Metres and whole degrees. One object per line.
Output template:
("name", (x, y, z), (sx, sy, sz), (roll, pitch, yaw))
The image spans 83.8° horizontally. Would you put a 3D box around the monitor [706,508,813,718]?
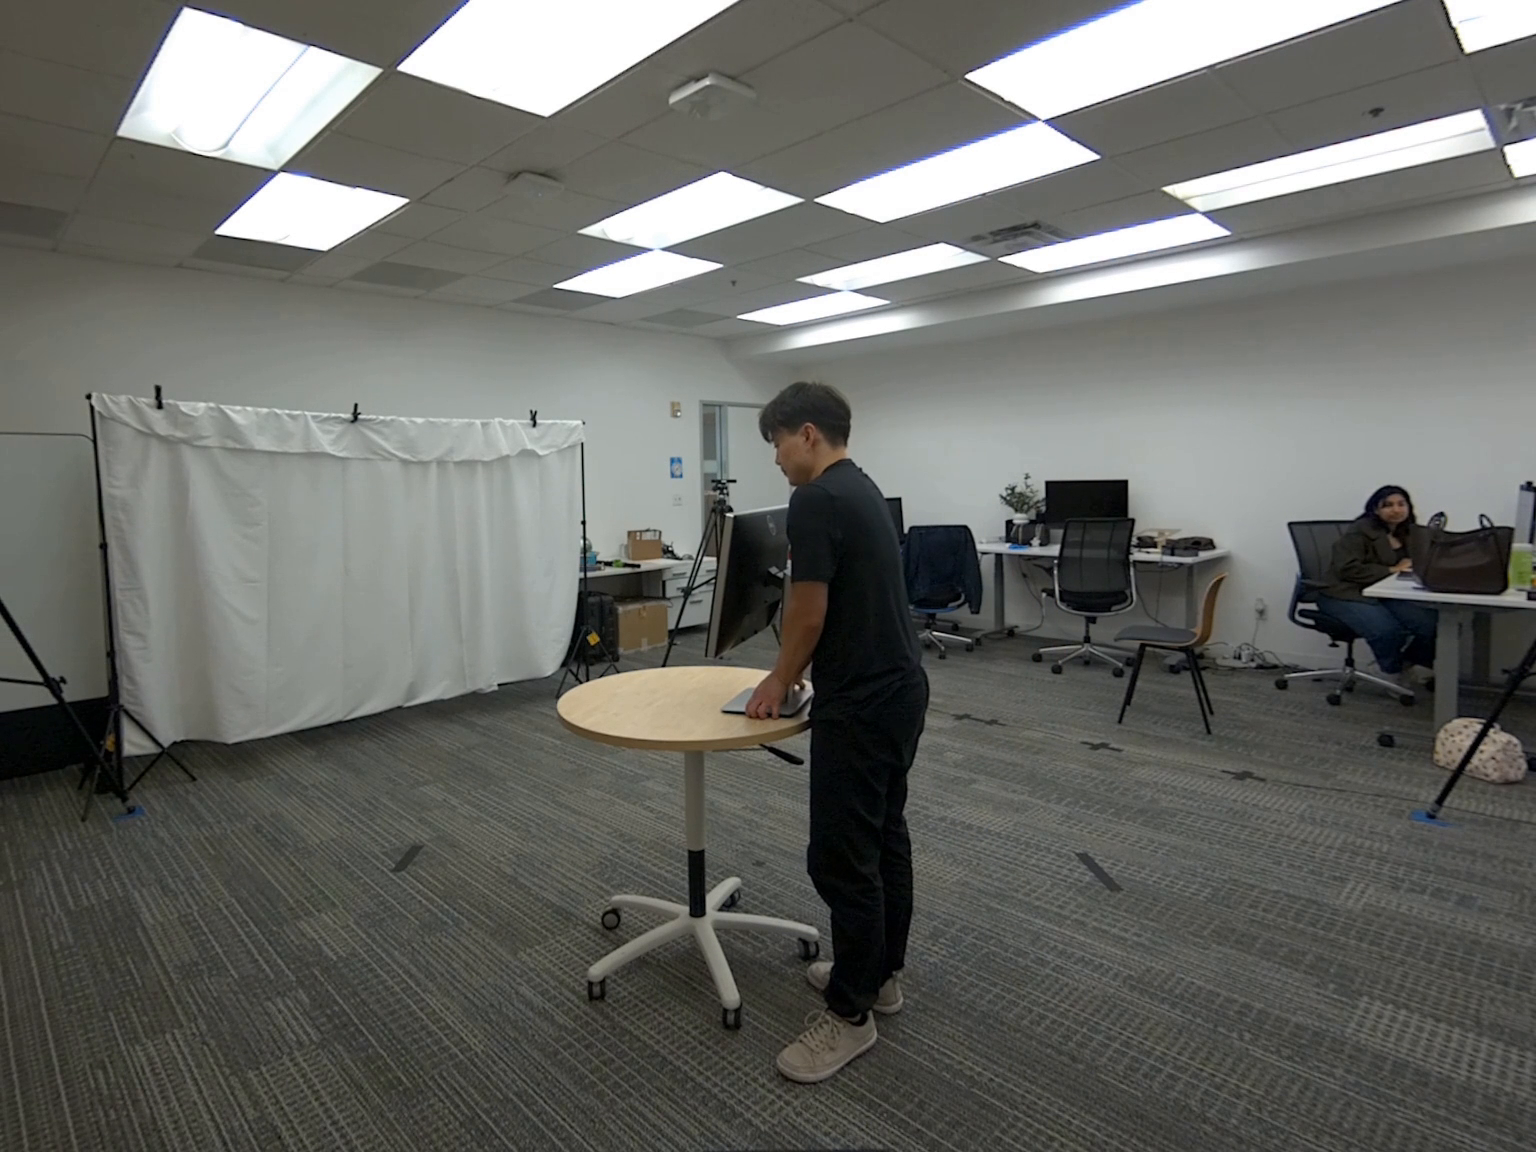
("monitor", (-0.001, 0.084, 2.337), (0.190, 0.520, 0.532), (-2, 5, 17))
